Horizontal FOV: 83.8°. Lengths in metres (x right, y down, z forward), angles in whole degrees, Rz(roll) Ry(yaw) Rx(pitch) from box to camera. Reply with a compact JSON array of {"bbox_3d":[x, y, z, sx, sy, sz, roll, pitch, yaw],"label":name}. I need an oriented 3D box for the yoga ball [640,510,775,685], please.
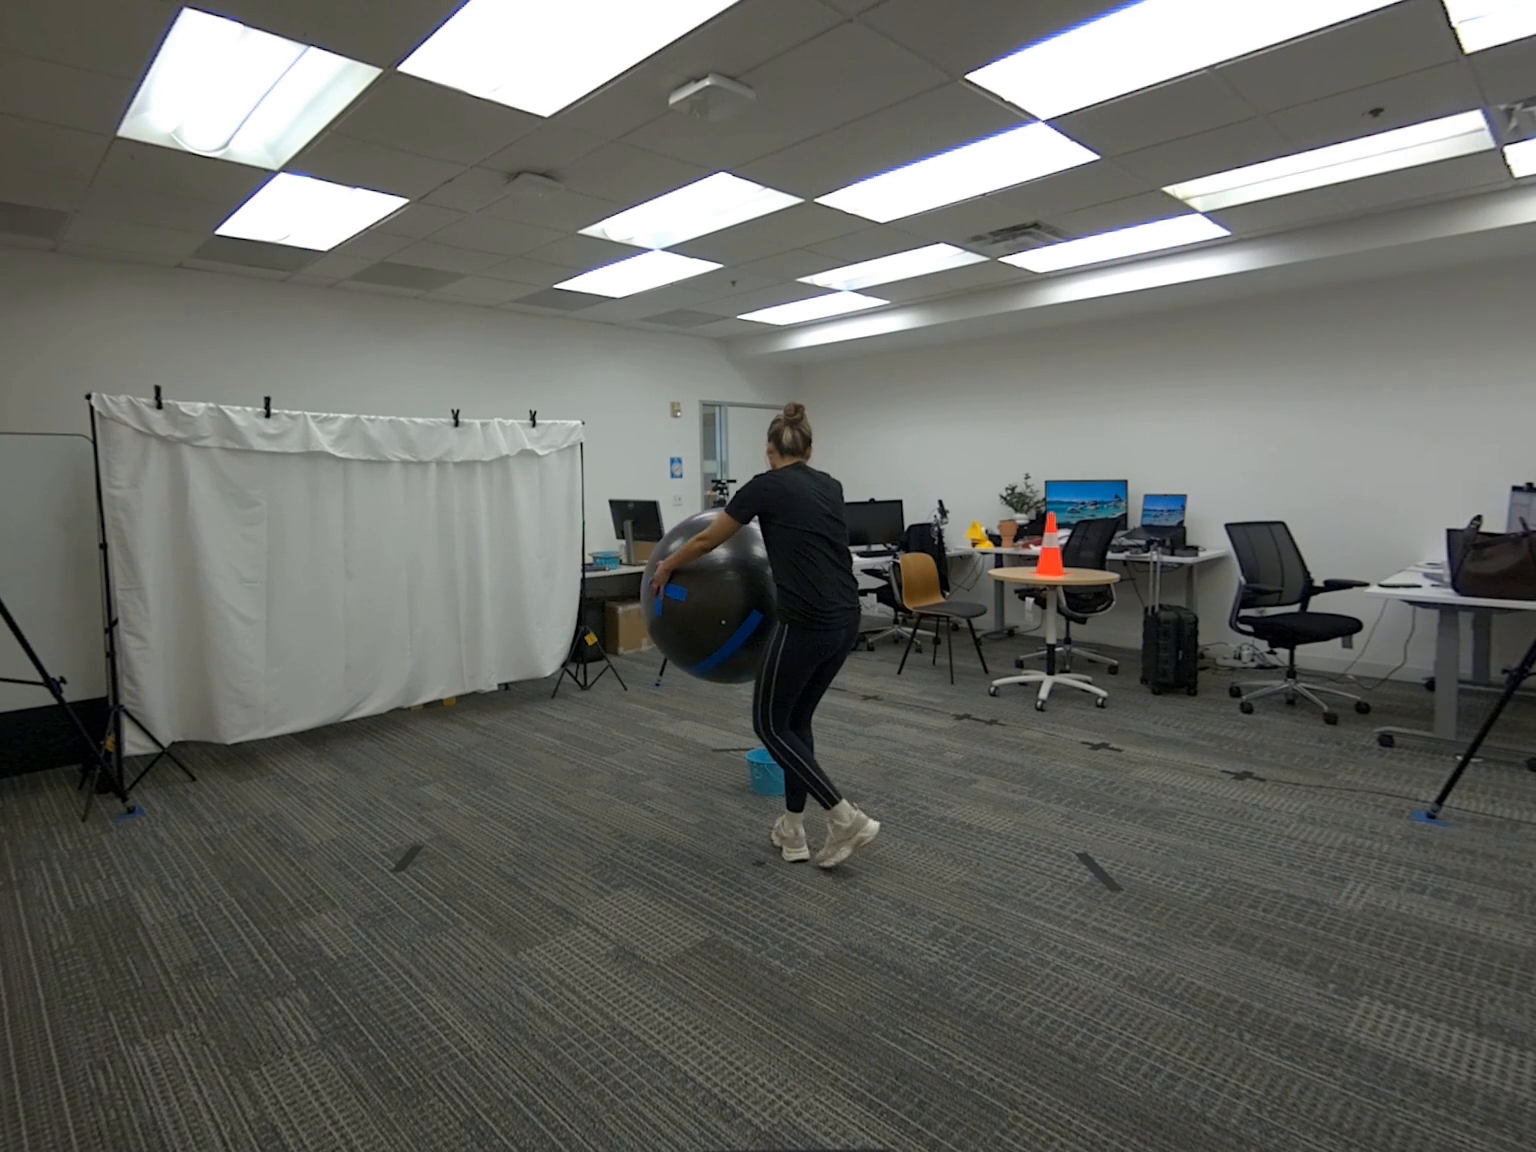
[{"bbox_3d":[-0.170,0.090,3.689,0.757,0.755,0.762,-1,5,-2],"label":"yoga ball"}]
